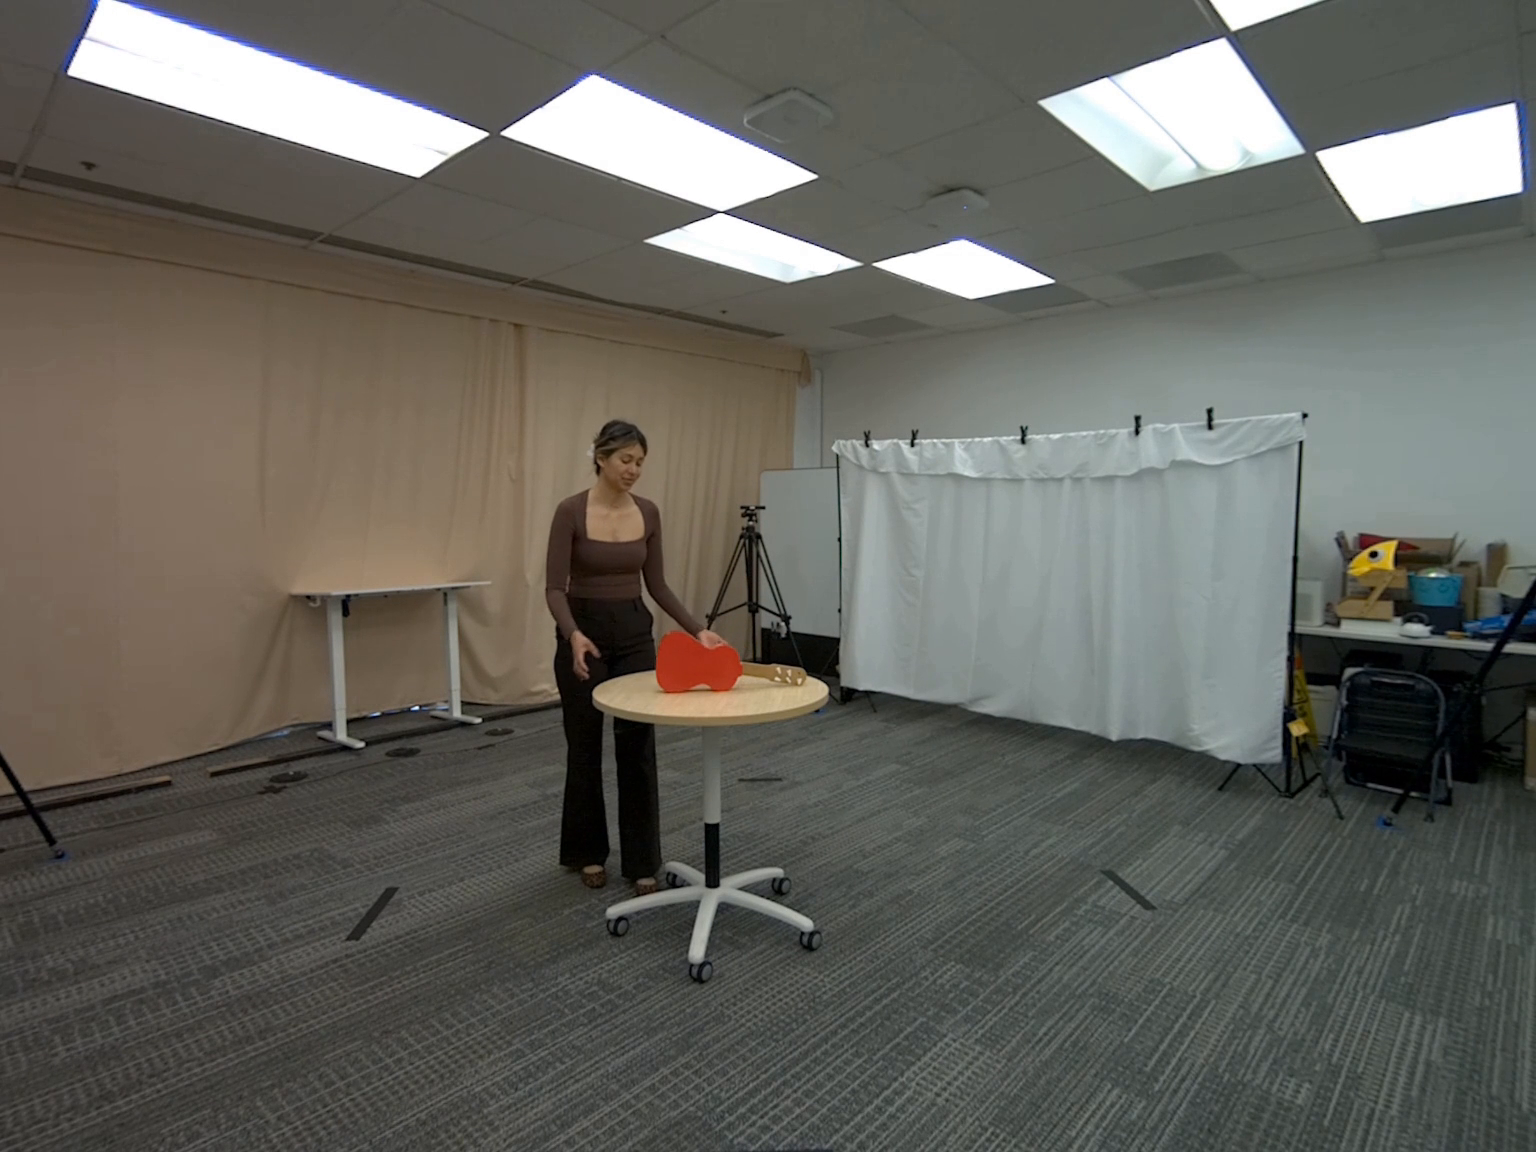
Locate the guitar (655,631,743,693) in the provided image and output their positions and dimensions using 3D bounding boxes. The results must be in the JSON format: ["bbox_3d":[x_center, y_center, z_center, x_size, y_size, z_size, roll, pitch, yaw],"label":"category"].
[{"bbox_3d":[-0.111,0.280,2.723,0.494,0.193,0.071,0,-1,-7],"label":"guitar"}]
